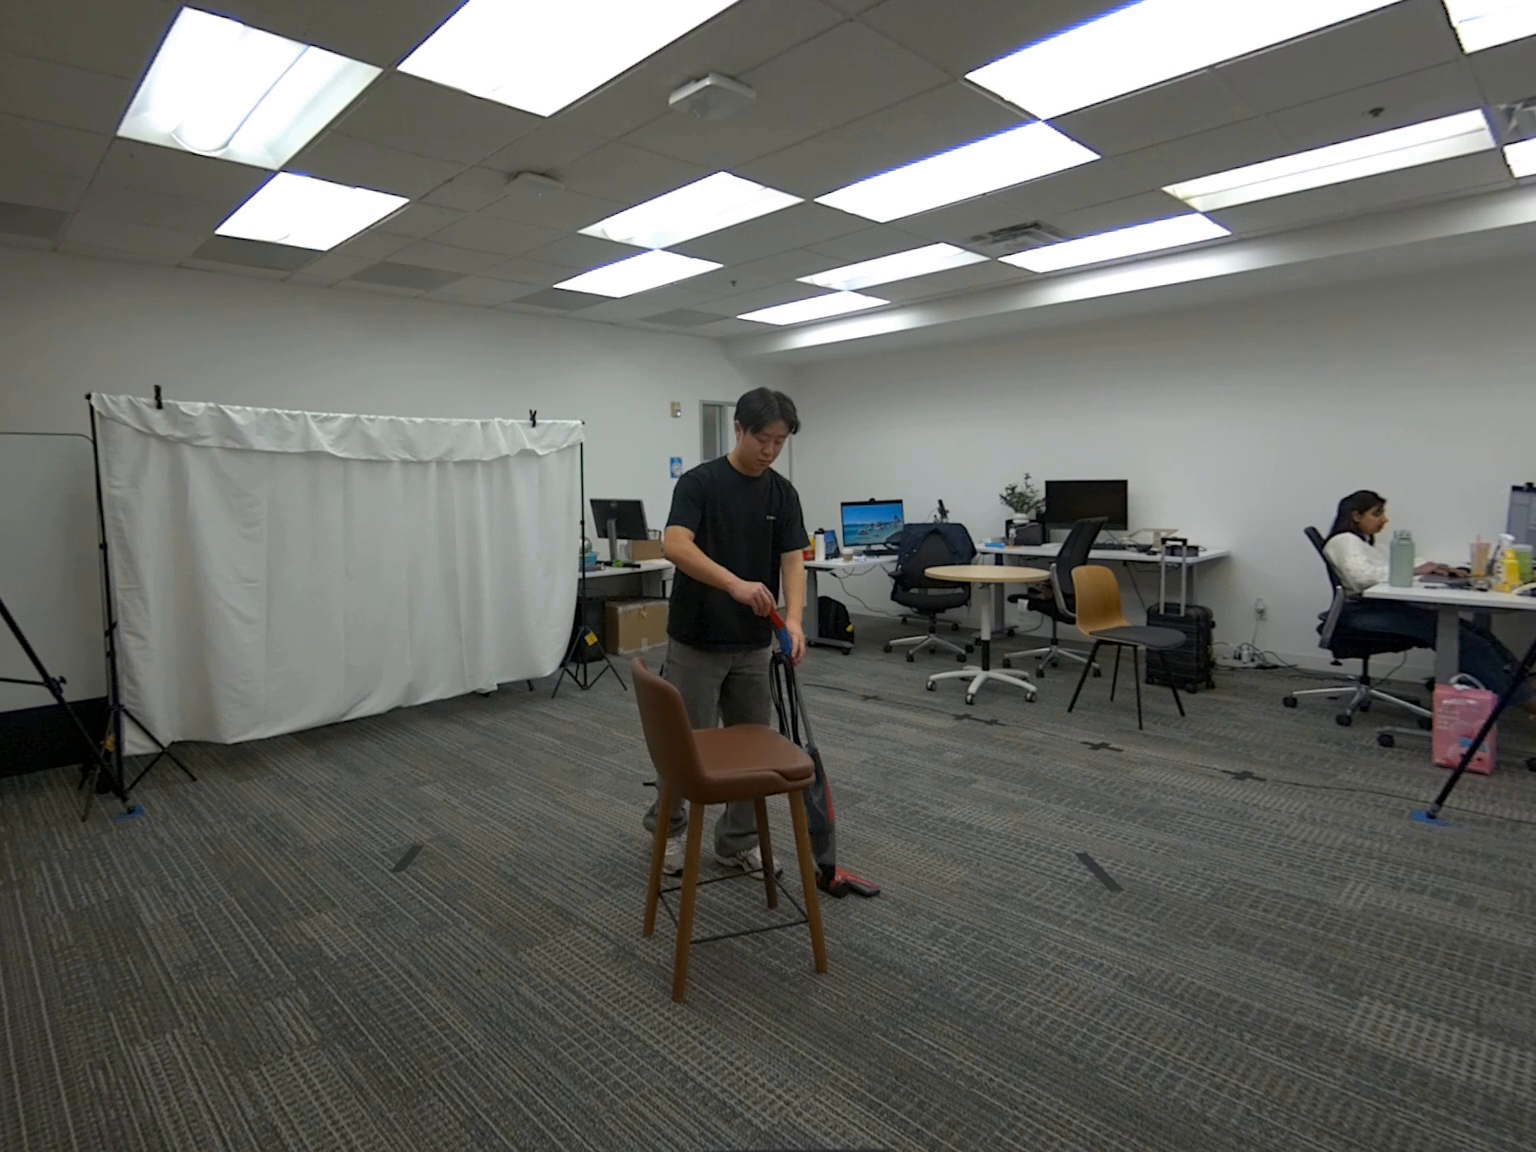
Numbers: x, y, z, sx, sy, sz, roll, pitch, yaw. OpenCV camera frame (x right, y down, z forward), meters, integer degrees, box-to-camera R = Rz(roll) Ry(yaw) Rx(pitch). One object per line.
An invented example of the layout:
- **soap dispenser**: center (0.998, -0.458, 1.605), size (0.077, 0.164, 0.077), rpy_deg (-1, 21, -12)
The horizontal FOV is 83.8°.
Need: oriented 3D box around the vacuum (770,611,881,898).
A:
- **vacuum**: center (0.120, 0.578, 2.794), size (0.142, 1.032, 0.260), rpy_deg (-26, 18, -37)
